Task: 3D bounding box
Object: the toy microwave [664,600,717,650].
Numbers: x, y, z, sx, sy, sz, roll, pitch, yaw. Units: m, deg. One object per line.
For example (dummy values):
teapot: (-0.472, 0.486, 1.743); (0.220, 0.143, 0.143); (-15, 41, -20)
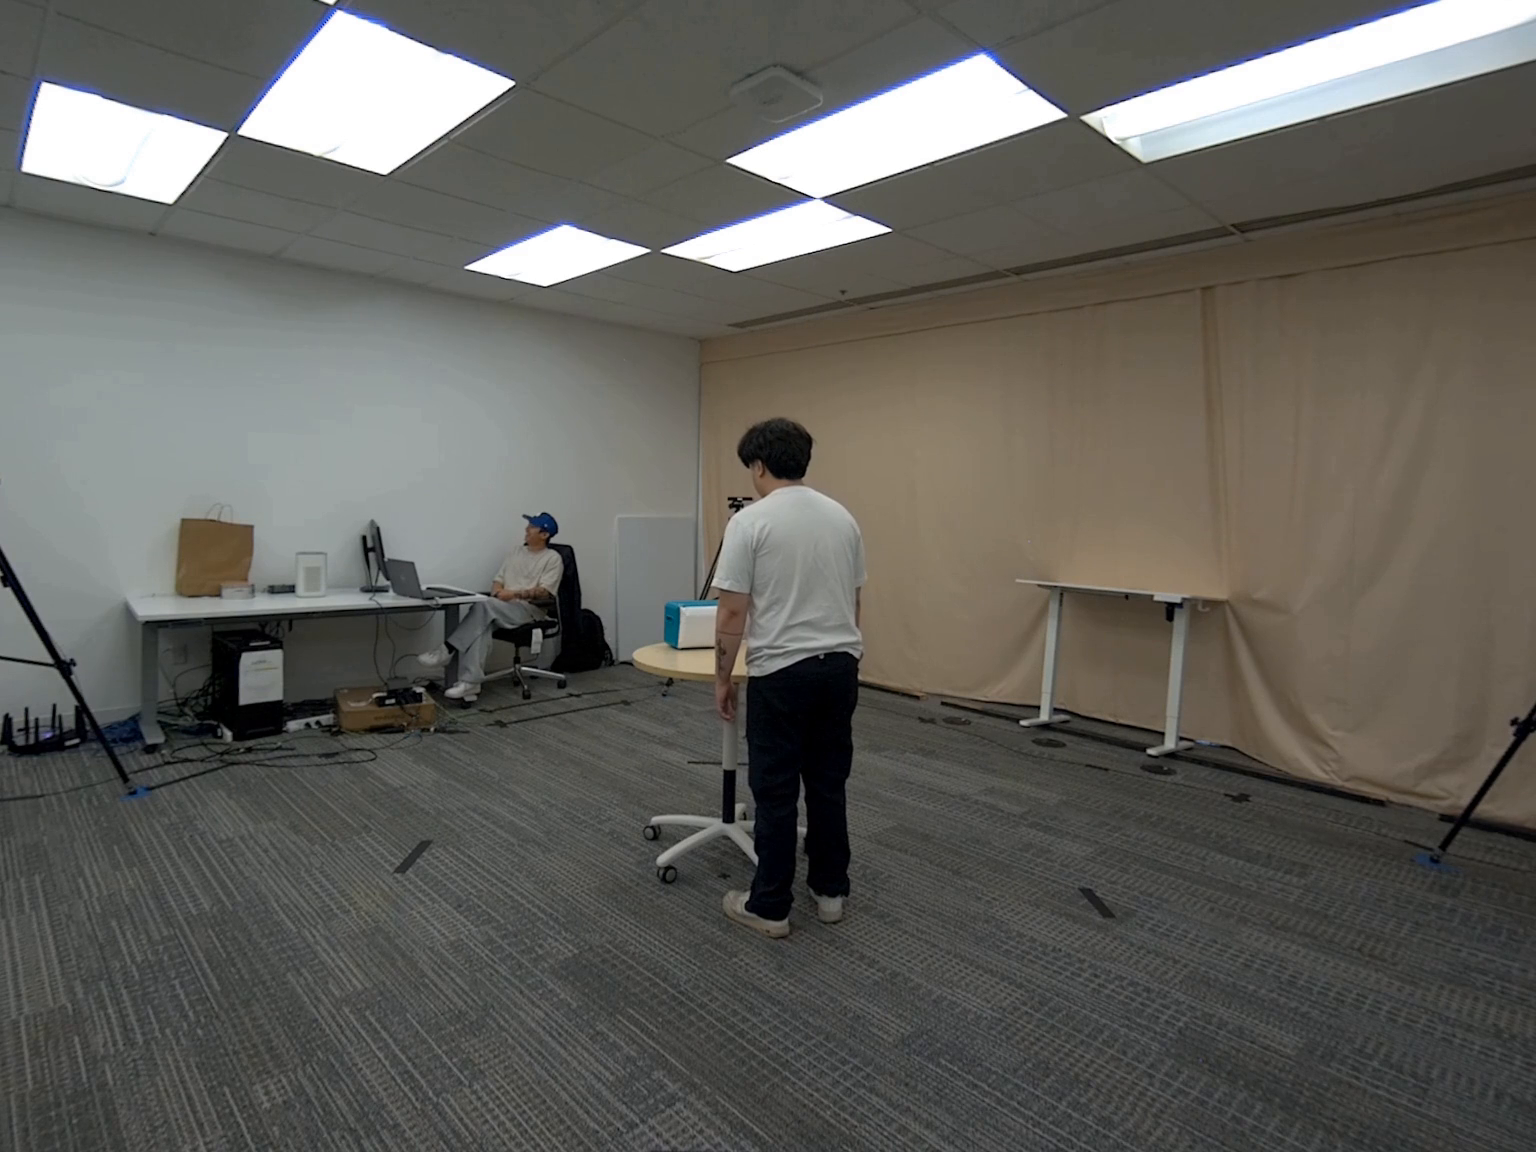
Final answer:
toy microwave: (-0.274, 0.194, 3.411); (0.281, 0.184, 0.155); (-1, 4, -27)
